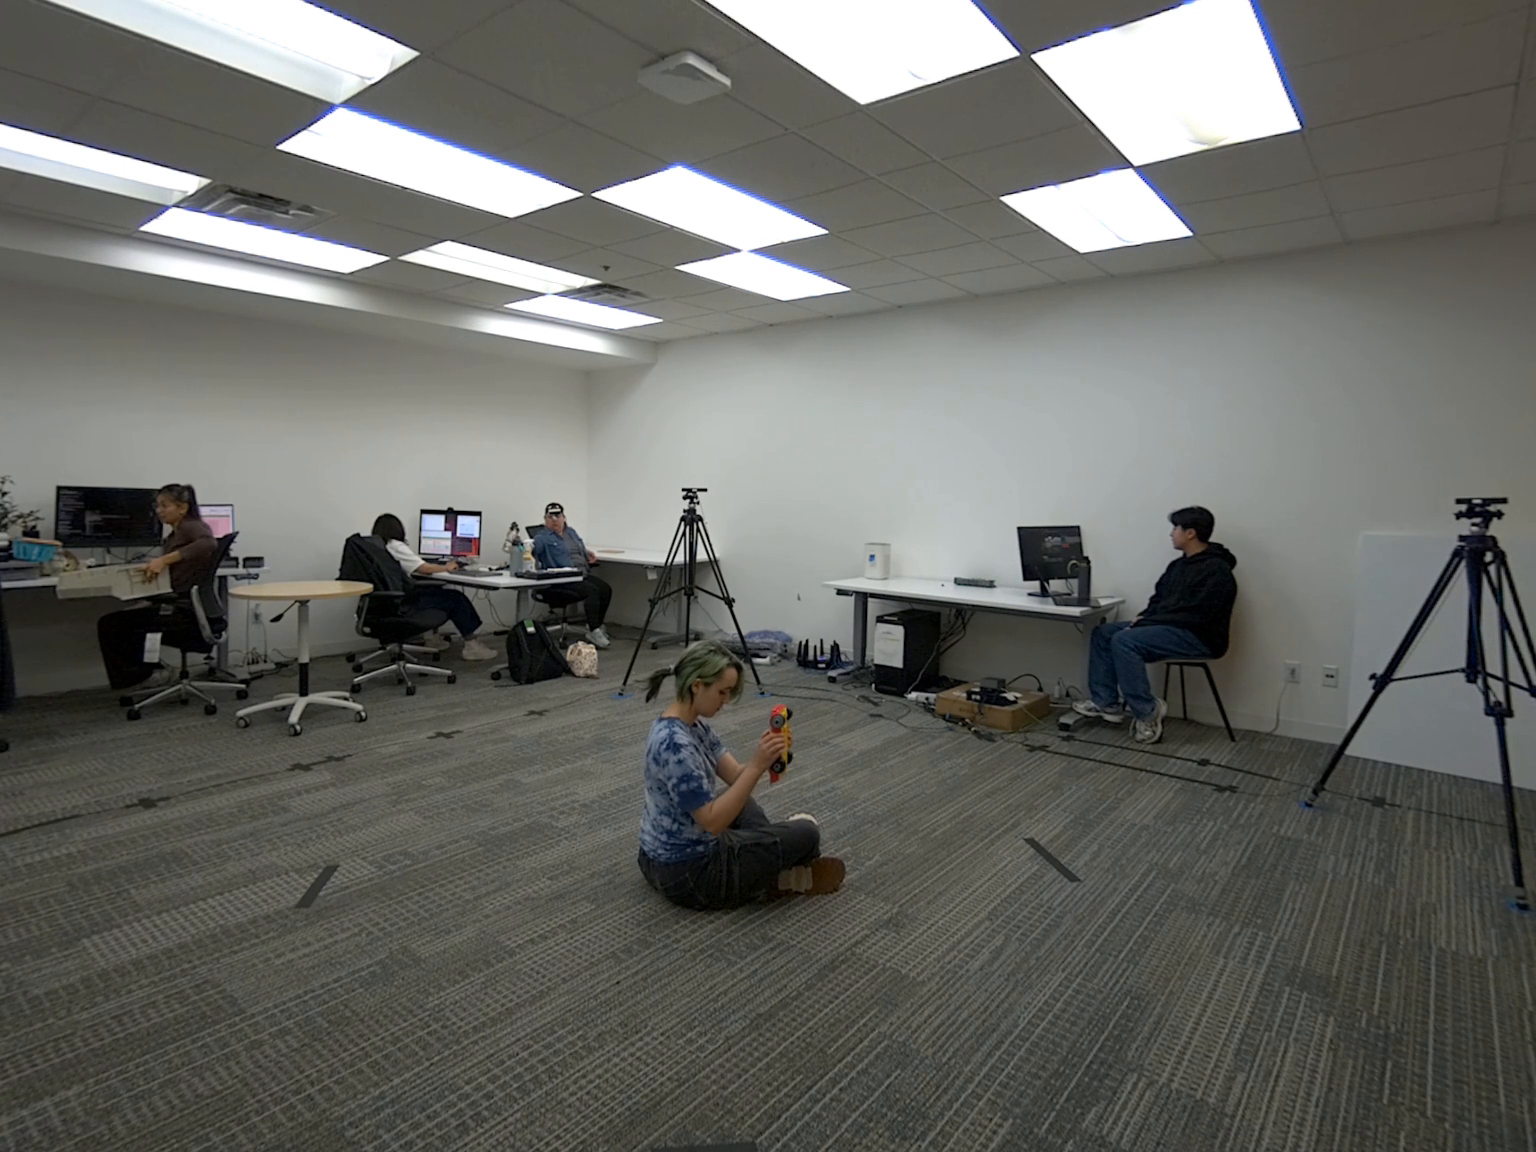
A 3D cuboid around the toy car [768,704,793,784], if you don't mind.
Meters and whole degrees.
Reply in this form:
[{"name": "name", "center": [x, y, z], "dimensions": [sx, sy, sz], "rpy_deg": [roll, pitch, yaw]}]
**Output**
[{"name": "toy car", "center": [0.028, 0.555, 2.777], "dimensions": [0.085, 0.253, 0.128], "rpy_deg": [13, 8, 15]}]
